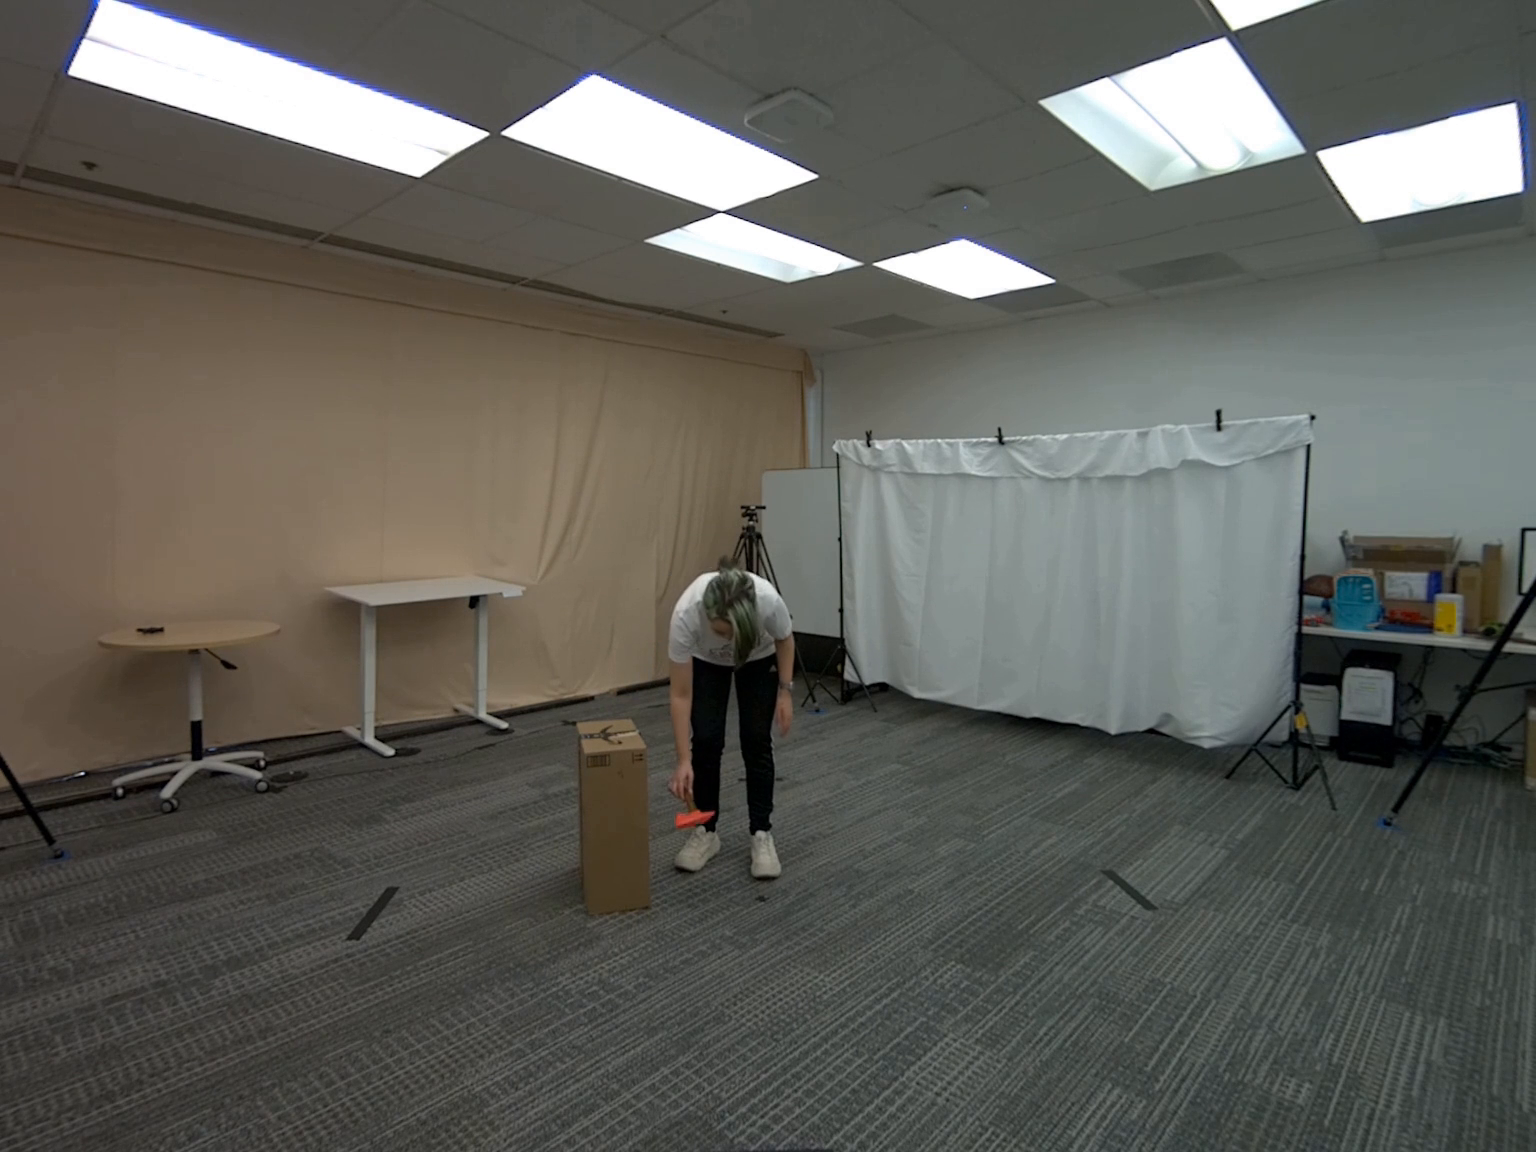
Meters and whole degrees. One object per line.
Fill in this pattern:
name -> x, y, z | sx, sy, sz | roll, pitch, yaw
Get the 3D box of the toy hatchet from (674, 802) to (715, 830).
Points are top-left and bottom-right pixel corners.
toy hatchet -> -0.307, 0.796, 2.911 | 0.129, 0.029, 0.279 | -29, 25, -22
